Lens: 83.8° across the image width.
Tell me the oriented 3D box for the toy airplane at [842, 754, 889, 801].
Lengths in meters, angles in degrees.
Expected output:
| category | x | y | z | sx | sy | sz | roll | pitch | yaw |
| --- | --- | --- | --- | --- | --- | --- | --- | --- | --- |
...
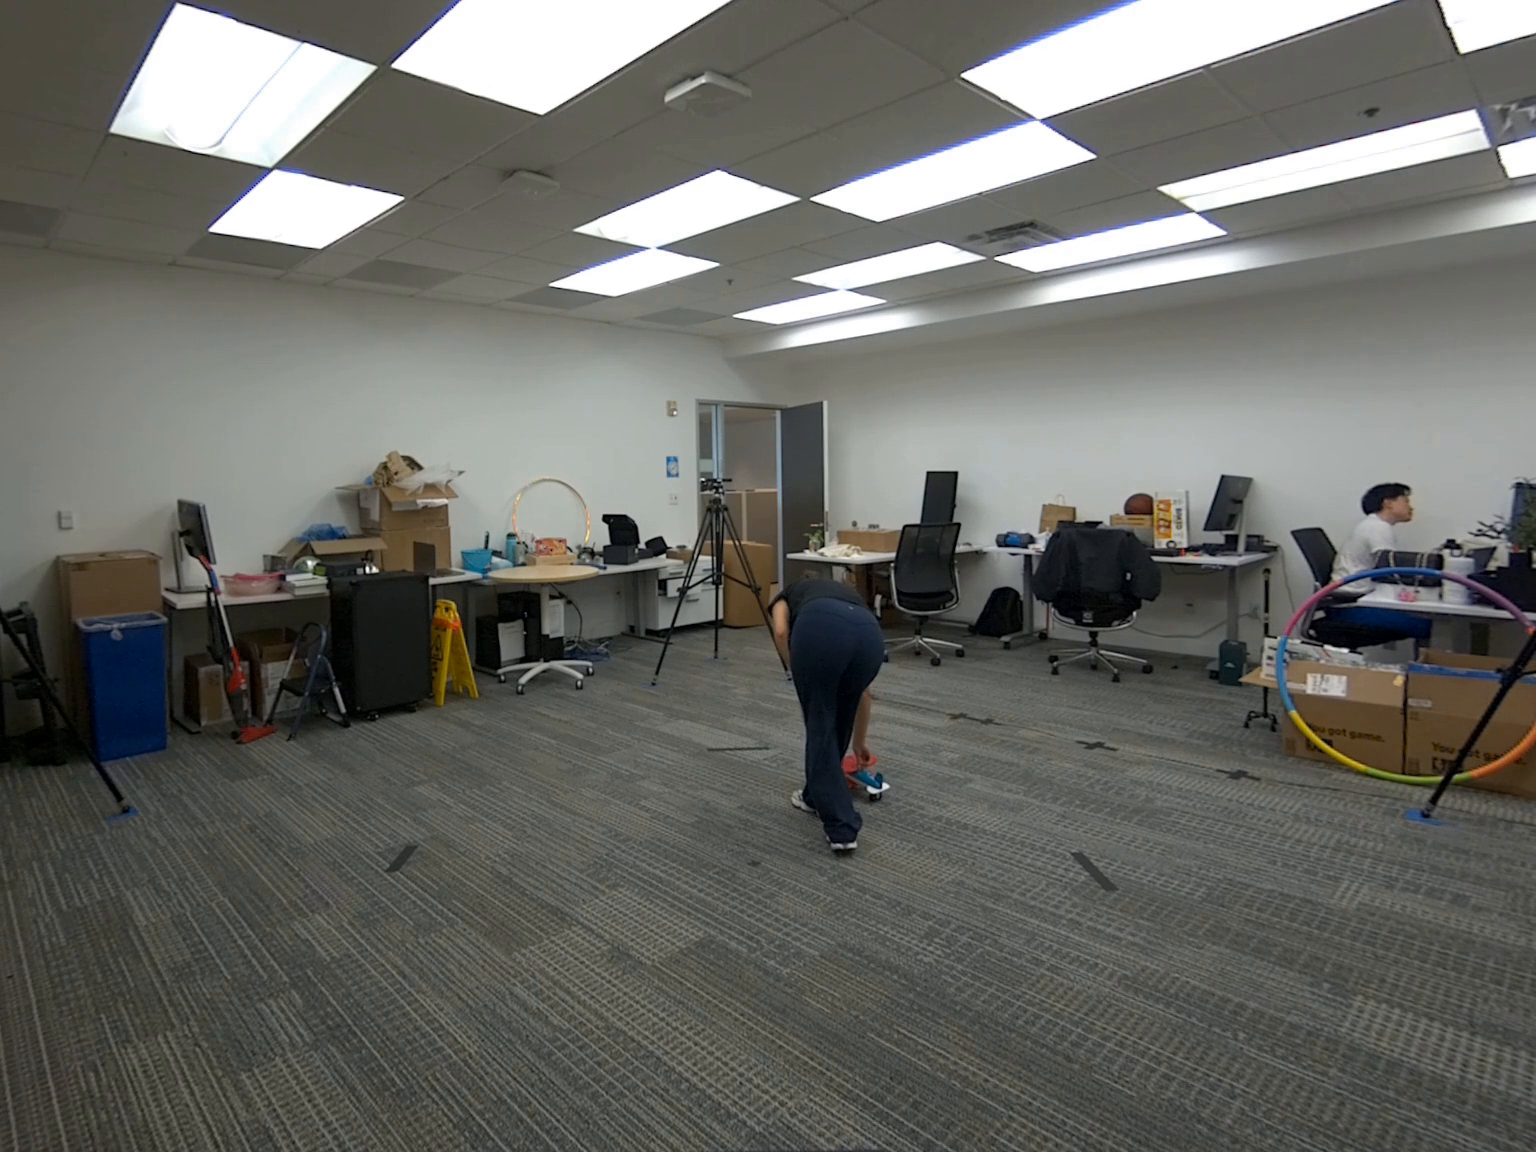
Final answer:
| category | x | y | z | sx | sy | sz | roll | pitch | yaw |
| --- | --- | --- | --- | --- | --- | --- | --- | --- | --- |
| toy airplane | 0.405 | 0.884 | 3.791 | 0.264 | 0.156 | 0.247 | 0 | 4 | 22 |
